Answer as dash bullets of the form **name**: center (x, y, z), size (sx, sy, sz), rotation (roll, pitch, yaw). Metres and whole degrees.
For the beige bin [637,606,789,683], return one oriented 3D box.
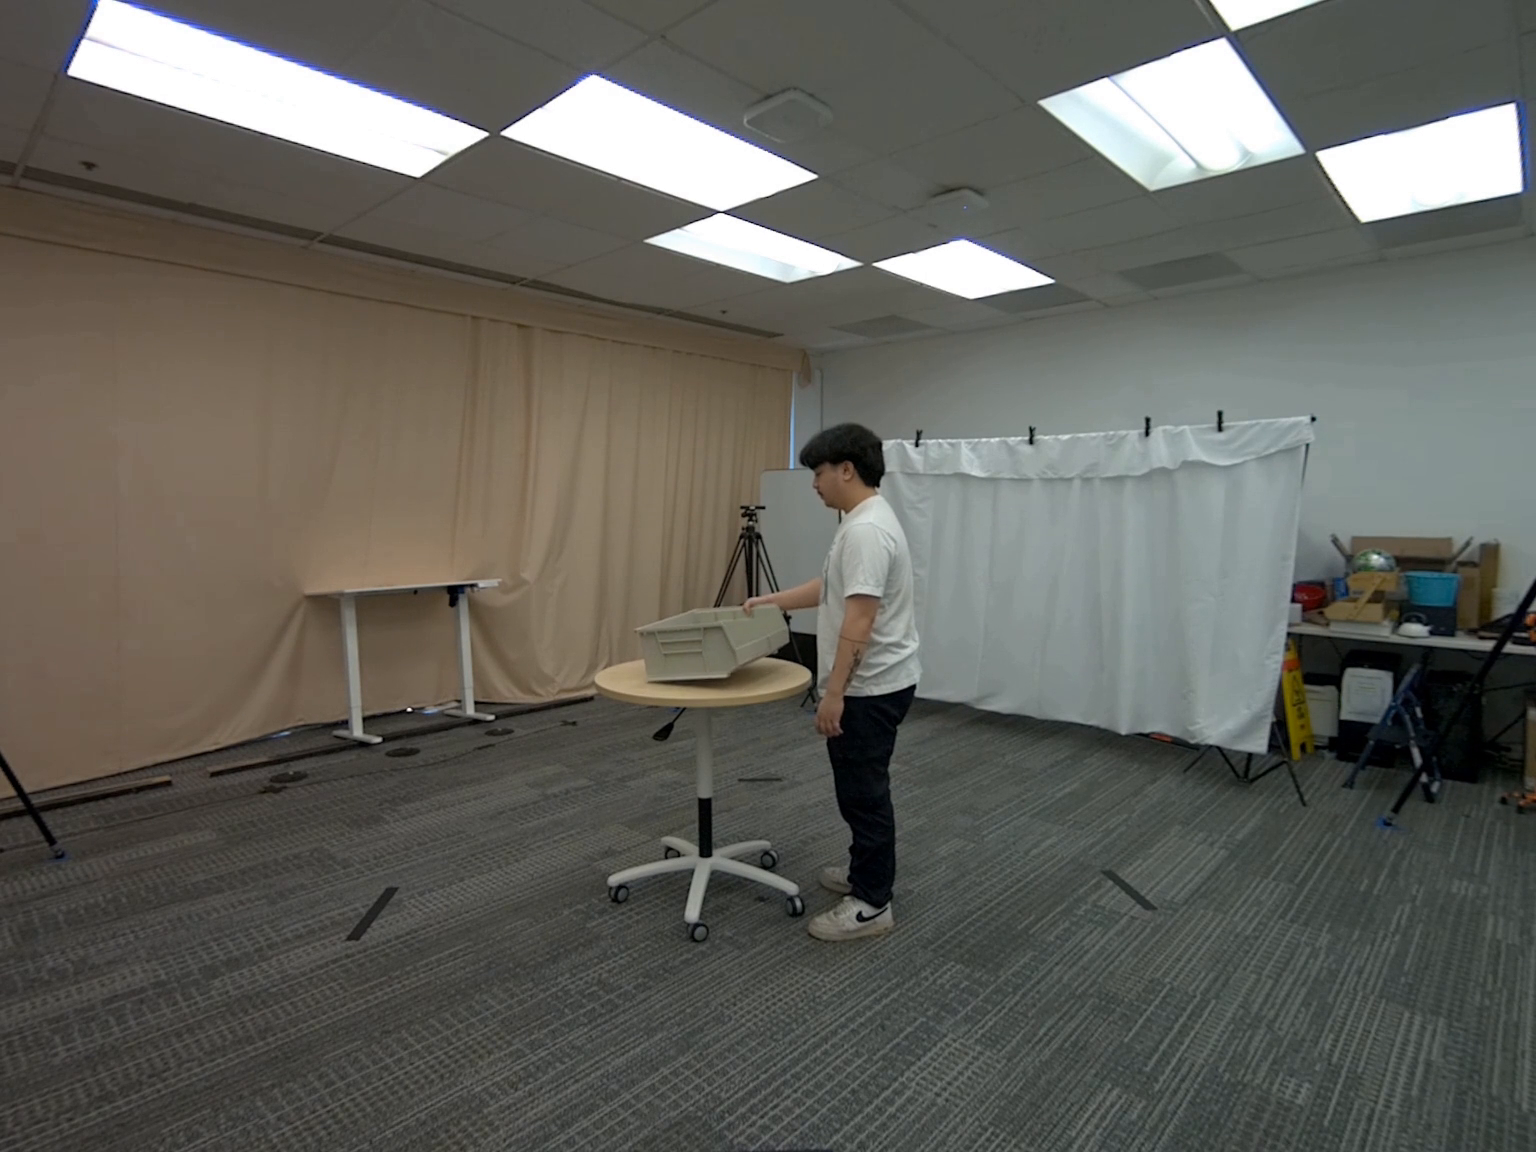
- **beige bin**: center (-0.182, 0.223, 2.947), size (0.387, 0.188, 0.413), rotation (-6, 4, 27)
